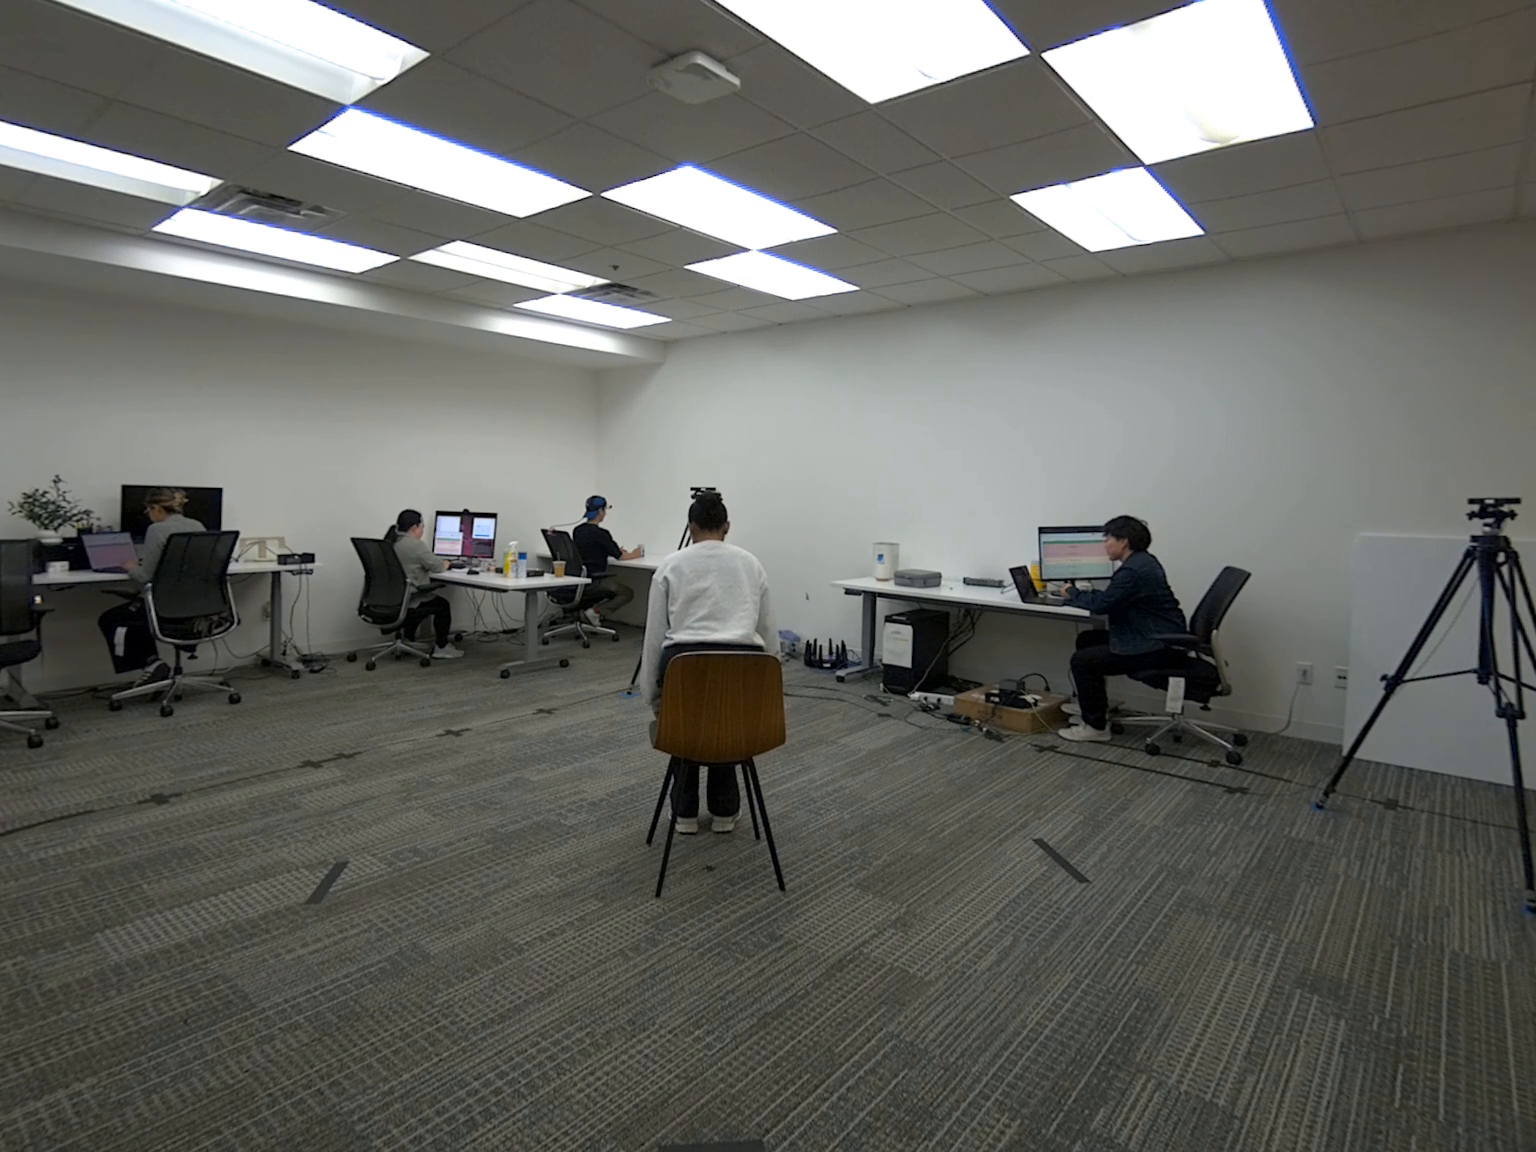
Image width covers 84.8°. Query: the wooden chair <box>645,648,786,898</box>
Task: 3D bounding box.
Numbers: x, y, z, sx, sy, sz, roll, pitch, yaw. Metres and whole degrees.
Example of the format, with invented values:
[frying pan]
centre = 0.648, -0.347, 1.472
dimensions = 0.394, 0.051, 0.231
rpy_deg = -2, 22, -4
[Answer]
[wooden chair]
centre = -0.208, 0.635, 3.110
dimensions = 0.473, 0.872, 0.532
rpy_deg = 0, 7, -11
